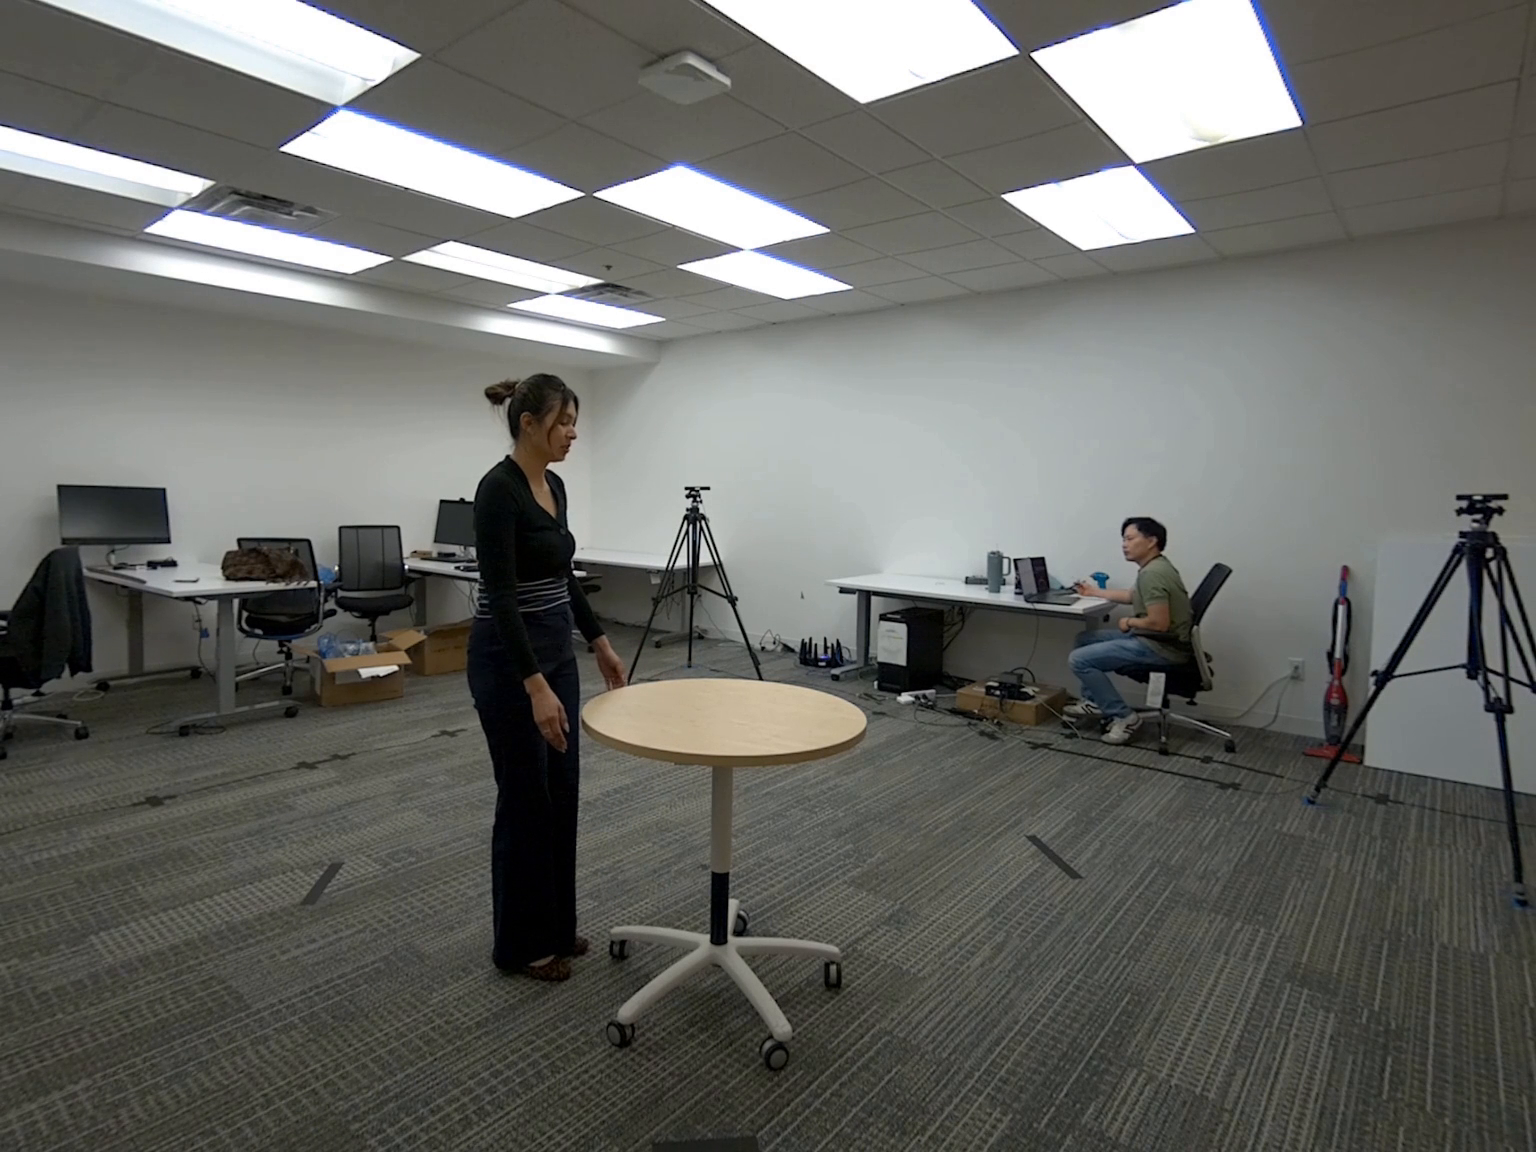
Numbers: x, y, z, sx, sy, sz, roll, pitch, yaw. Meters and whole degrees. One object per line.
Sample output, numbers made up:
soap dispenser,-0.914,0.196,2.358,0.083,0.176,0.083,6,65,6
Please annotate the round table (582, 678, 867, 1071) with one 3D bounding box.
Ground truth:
round table,-0.140,0.757,2.332,0.763,0.791,0.768,1,5,-2
